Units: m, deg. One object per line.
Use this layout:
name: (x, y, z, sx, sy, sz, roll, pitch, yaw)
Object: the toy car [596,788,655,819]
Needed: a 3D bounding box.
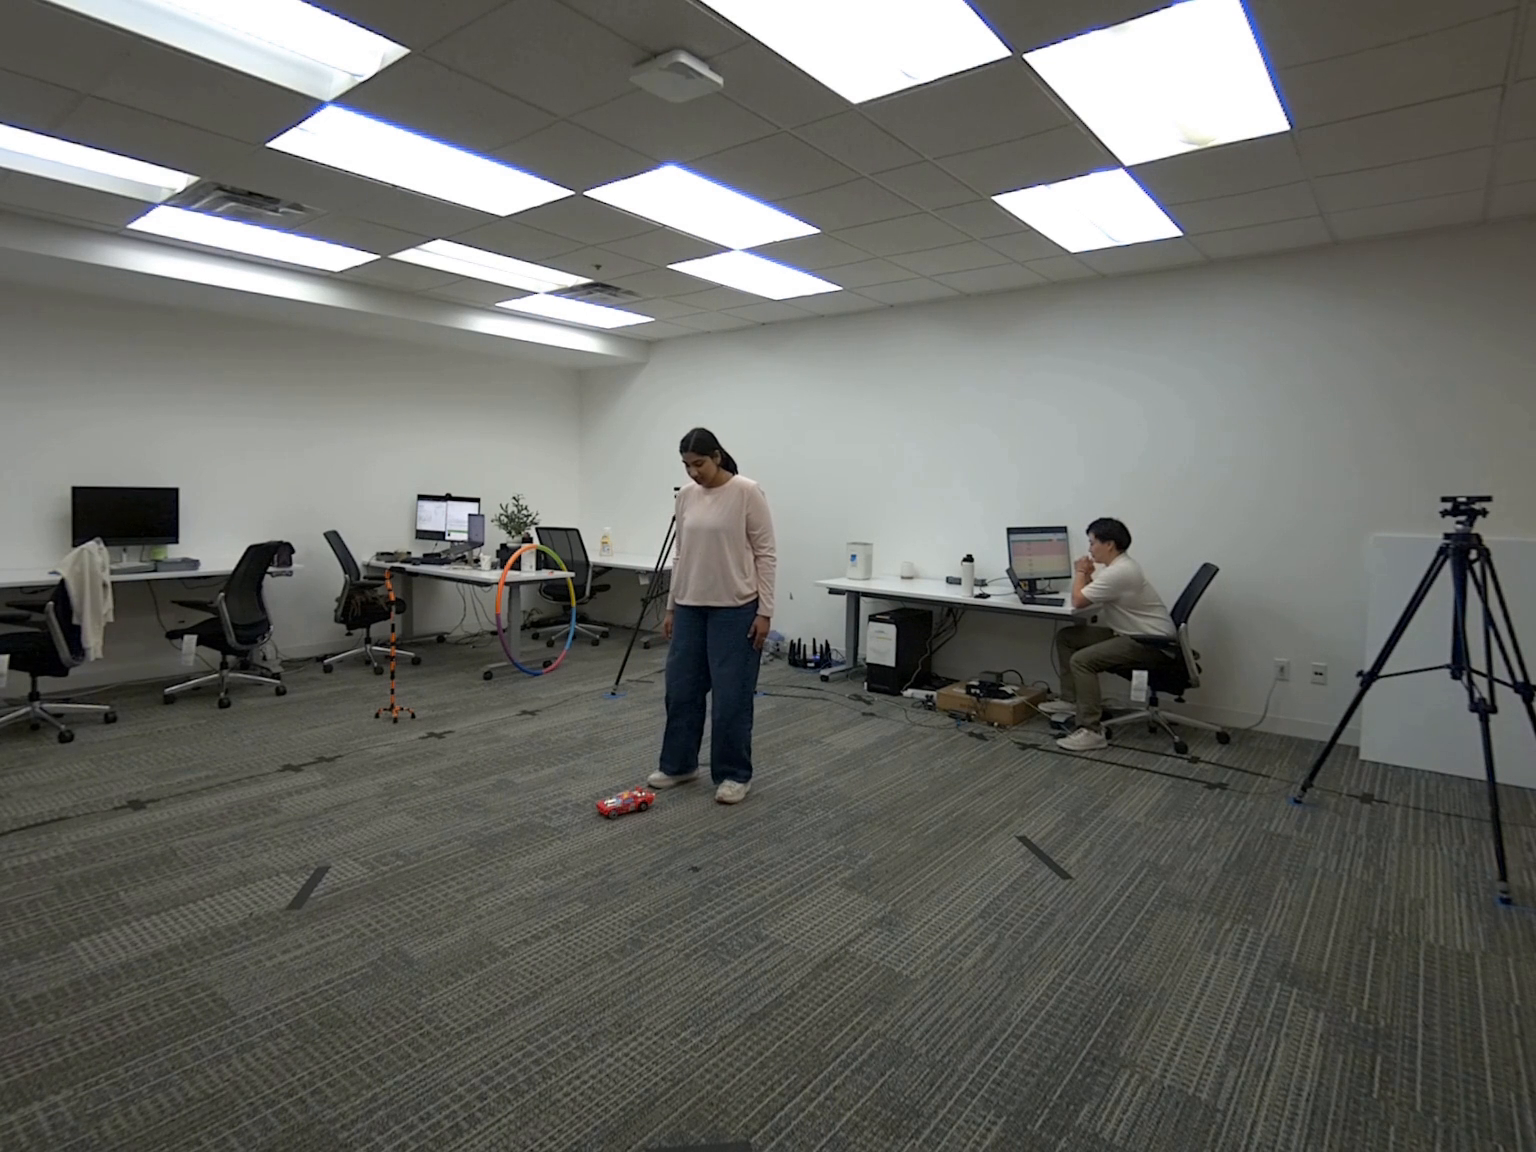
toy car: (-0.619, 0.974, 3.658, 0.249, 0.082, 0.134, -17, 14, -33)
